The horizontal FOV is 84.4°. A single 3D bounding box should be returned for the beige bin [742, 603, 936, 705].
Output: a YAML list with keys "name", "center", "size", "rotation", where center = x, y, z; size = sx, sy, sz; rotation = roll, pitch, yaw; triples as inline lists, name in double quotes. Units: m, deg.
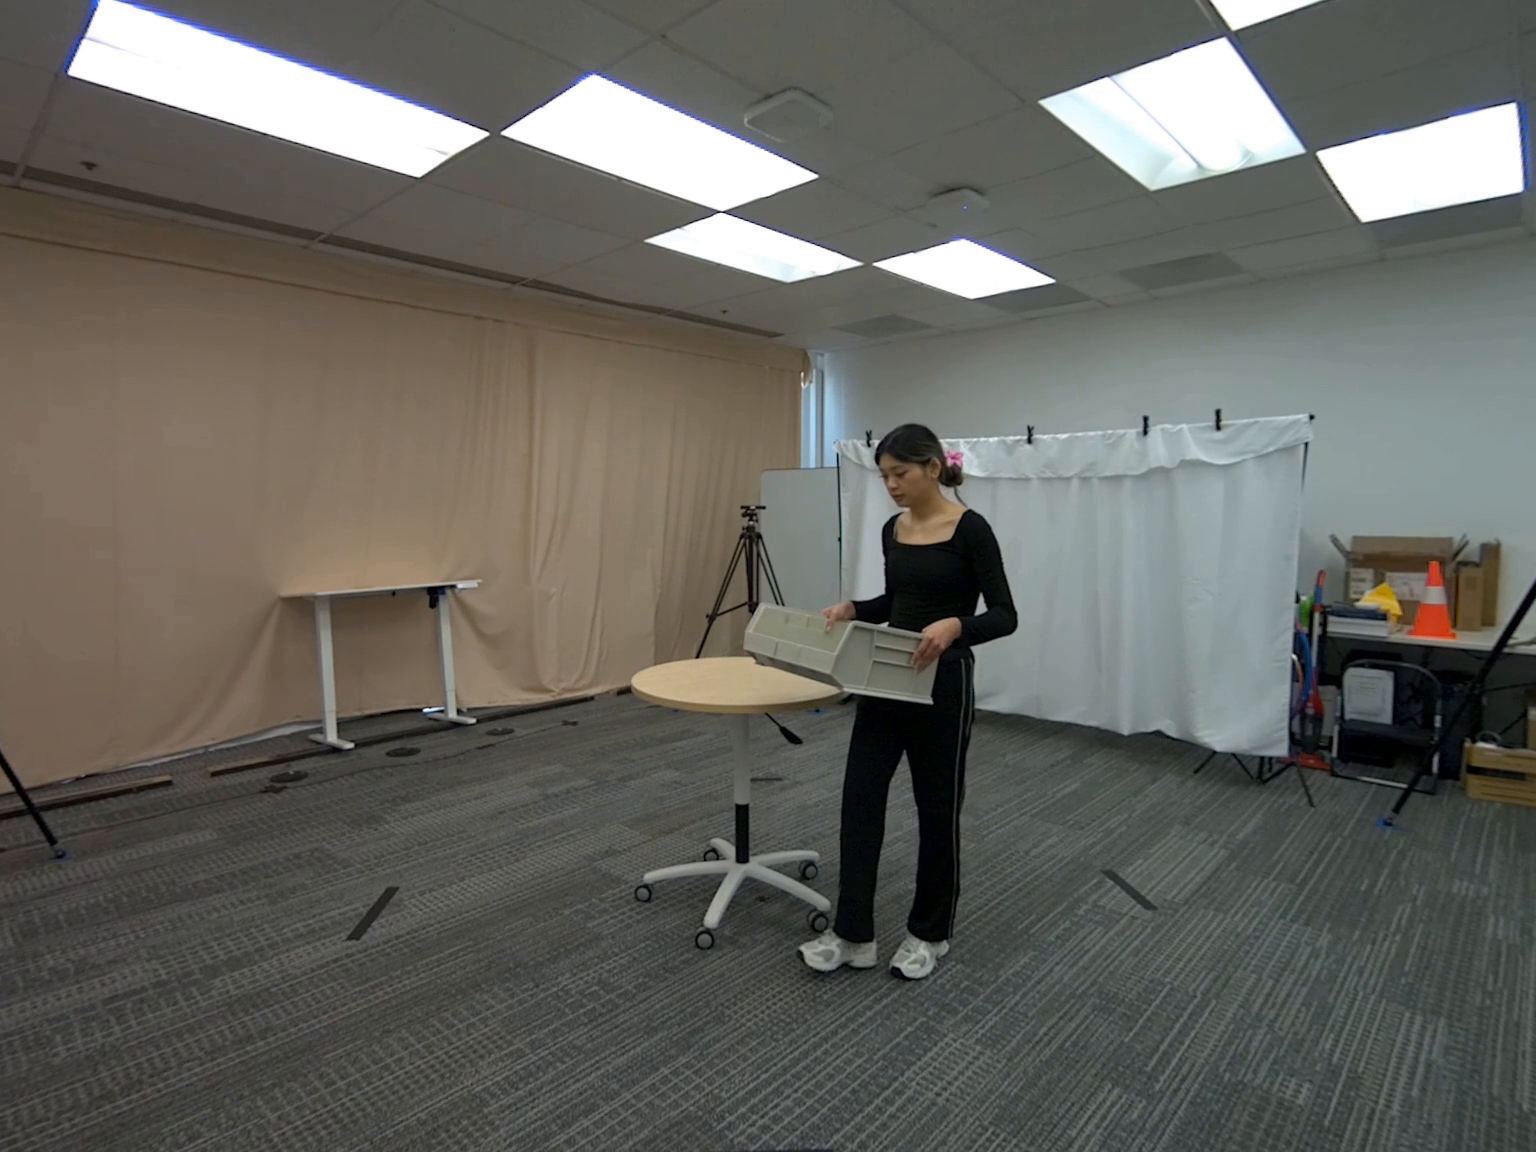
- name: "beige bin"
  center: [0.200, 0.210, 2.342]
  size: [0.365, 0.189, 0.435]
  rotation: [13, -4, -33]
